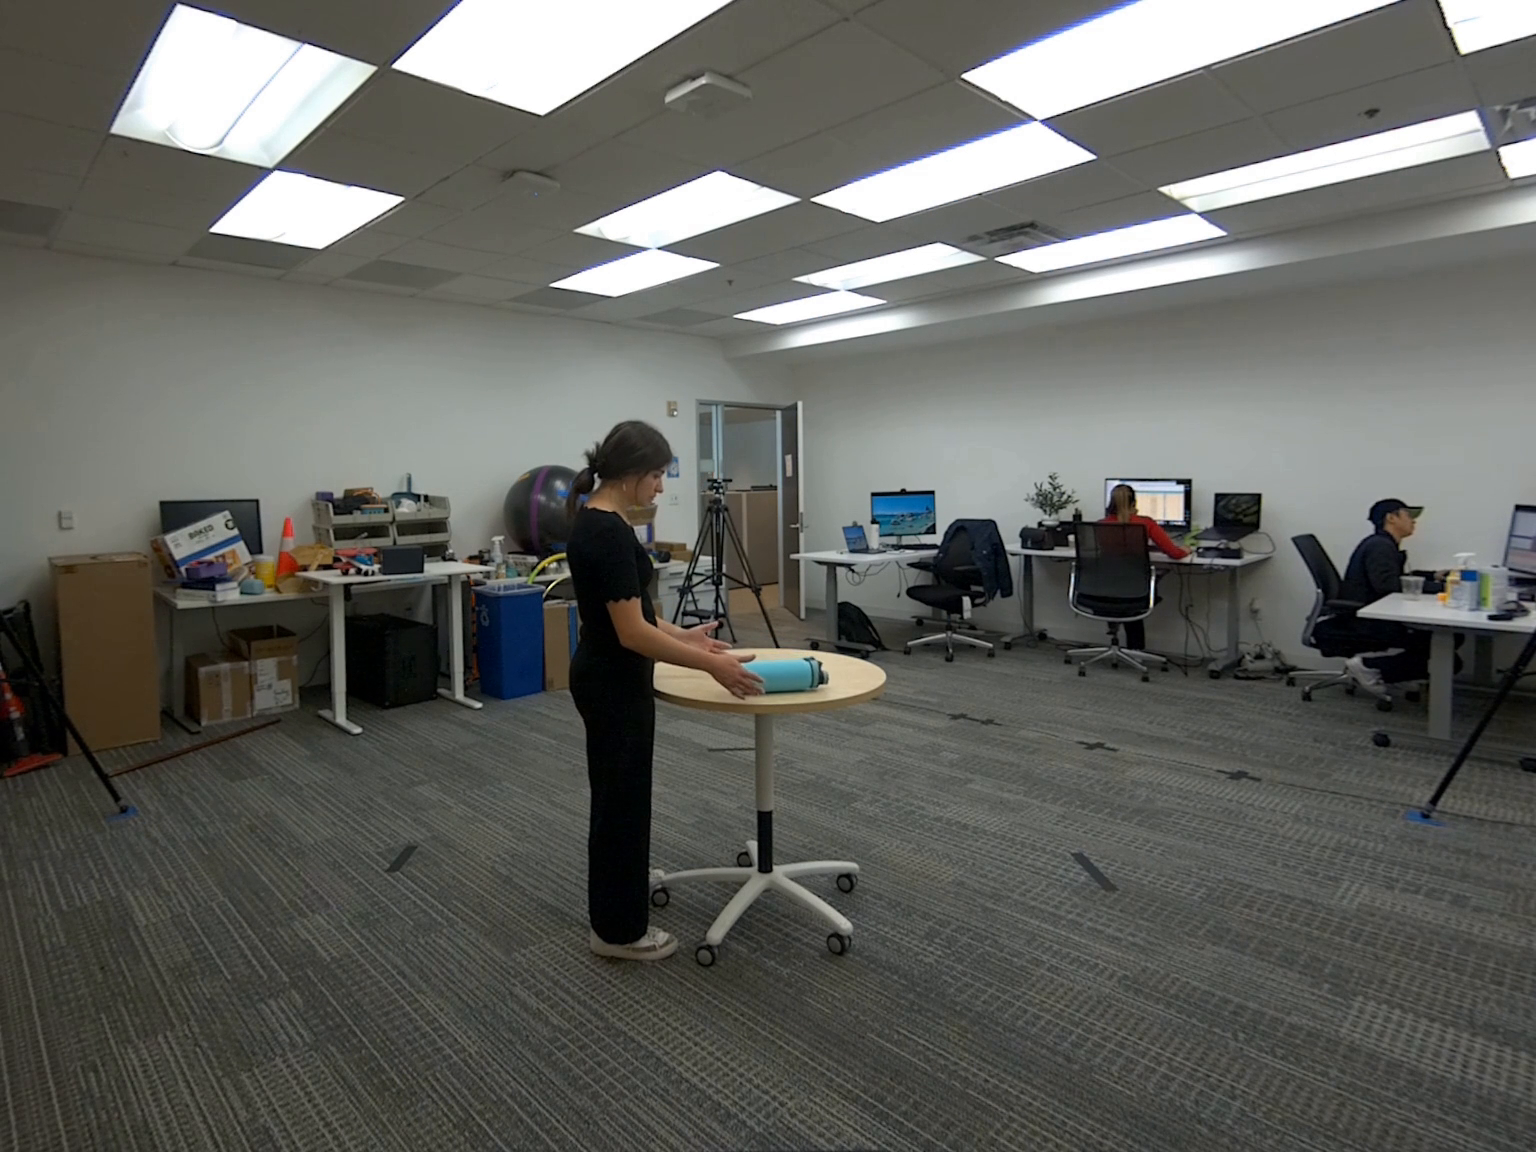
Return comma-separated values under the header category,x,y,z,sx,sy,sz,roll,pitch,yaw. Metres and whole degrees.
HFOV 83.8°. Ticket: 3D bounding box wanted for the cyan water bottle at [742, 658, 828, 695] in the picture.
category,x,y,z,sx,sy,sz,roll,pitch,yaw
cyan water bottle,0.032,0.285,2.466,0.280,0.092,0.094,-3,5,-11
